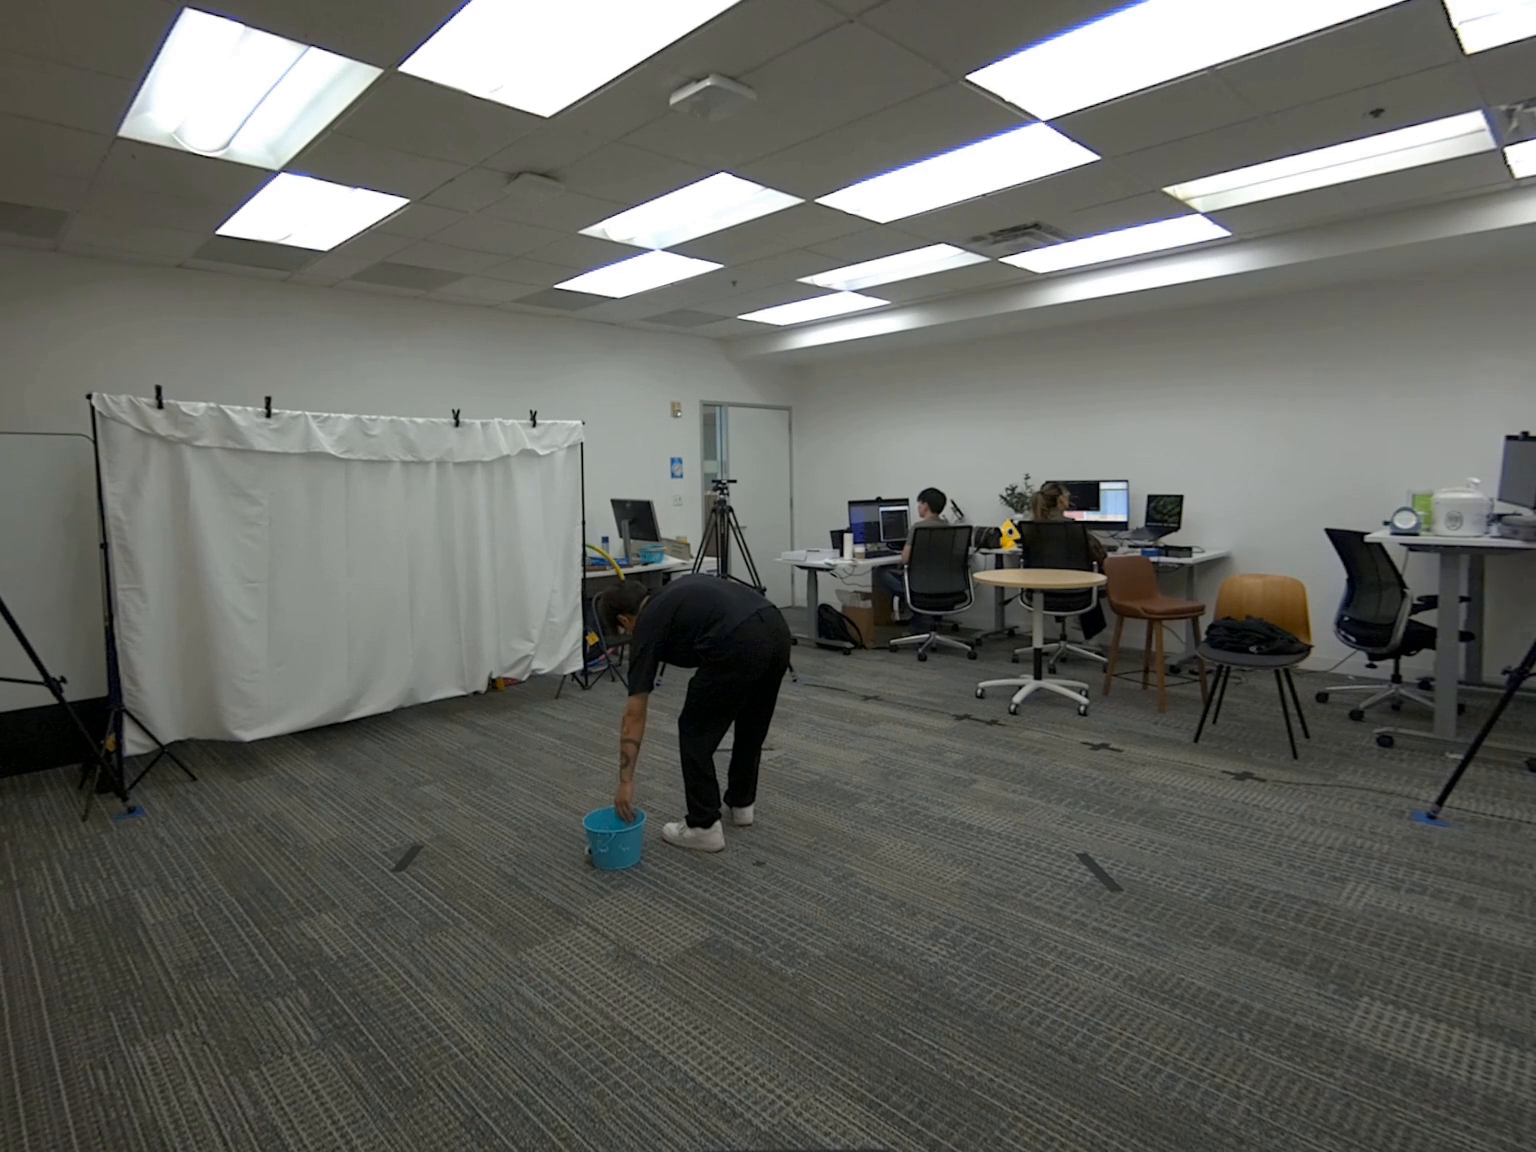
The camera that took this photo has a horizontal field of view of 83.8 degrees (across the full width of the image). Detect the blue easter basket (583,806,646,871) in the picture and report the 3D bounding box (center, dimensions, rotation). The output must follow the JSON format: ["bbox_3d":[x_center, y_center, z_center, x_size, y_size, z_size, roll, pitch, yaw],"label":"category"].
[{"bbox_3d":[-0.557,0.971,3.162,0.243,0.155,0.245,-1,8,-1],"label":"blue easter basket"}]
